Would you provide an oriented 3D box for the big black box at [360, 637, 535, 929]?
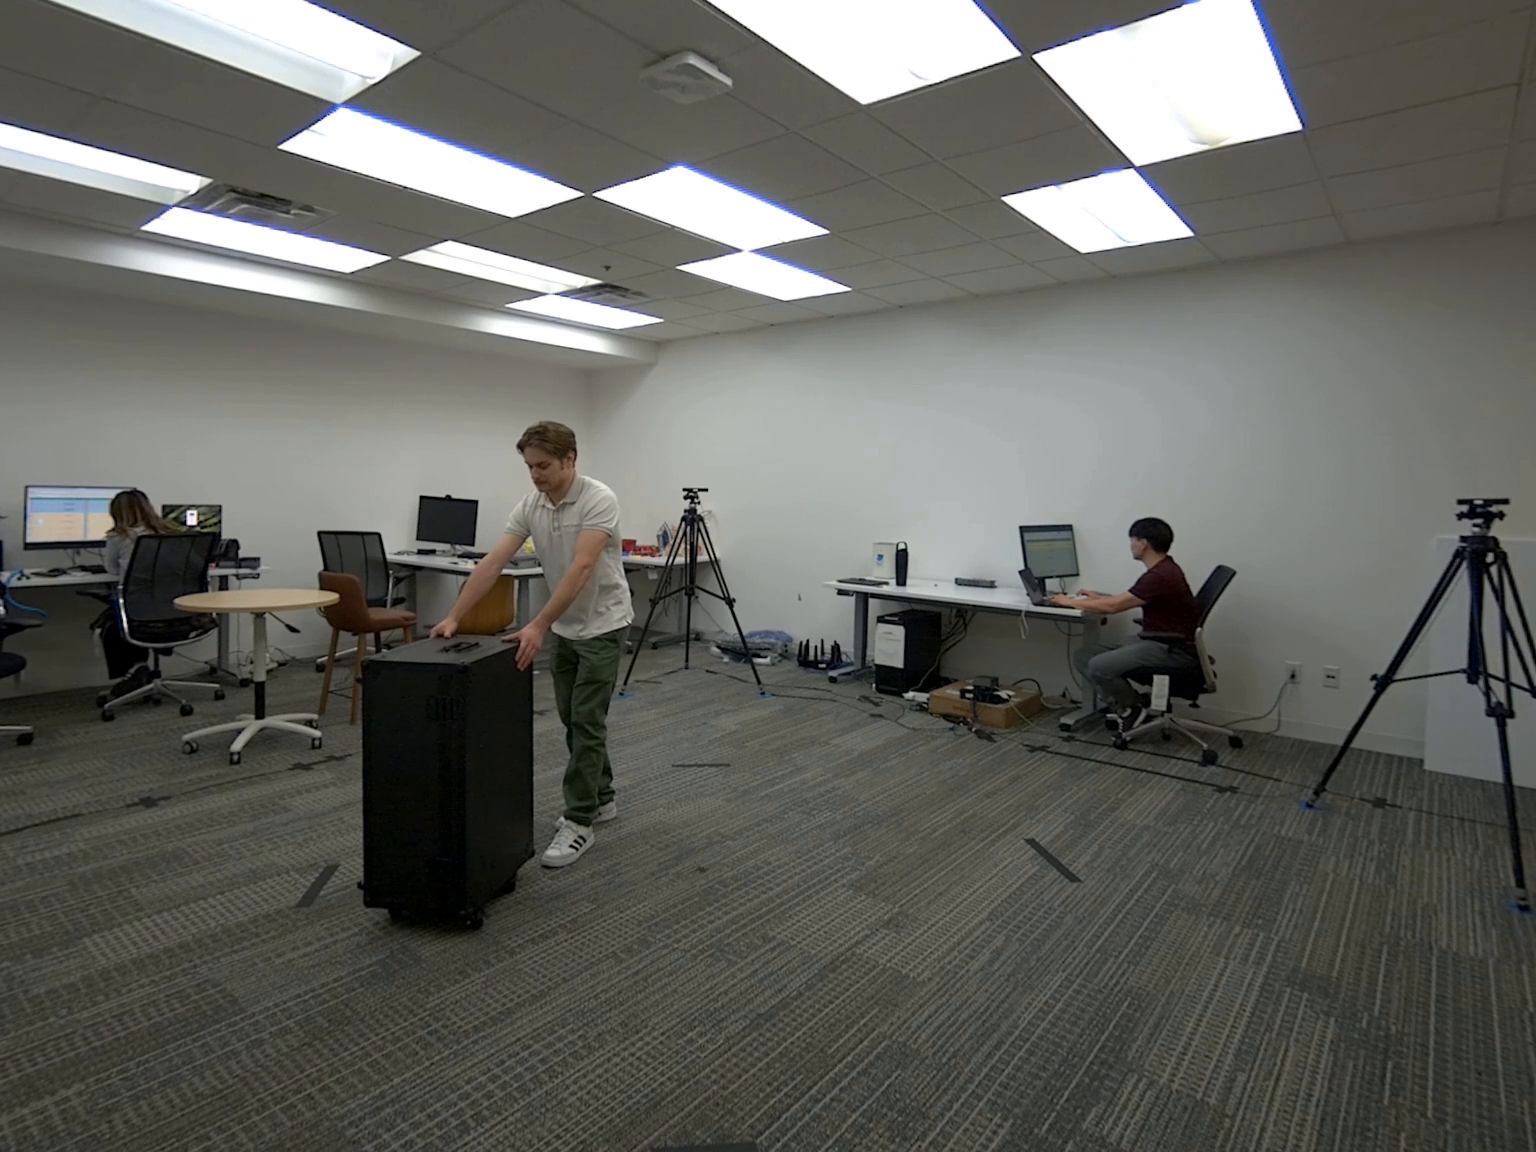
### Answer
[{"bbox_3d":[-1.061,0.662,2.820,0.390,0.866,0.518,1,3,11],"label":"big black box"}]
